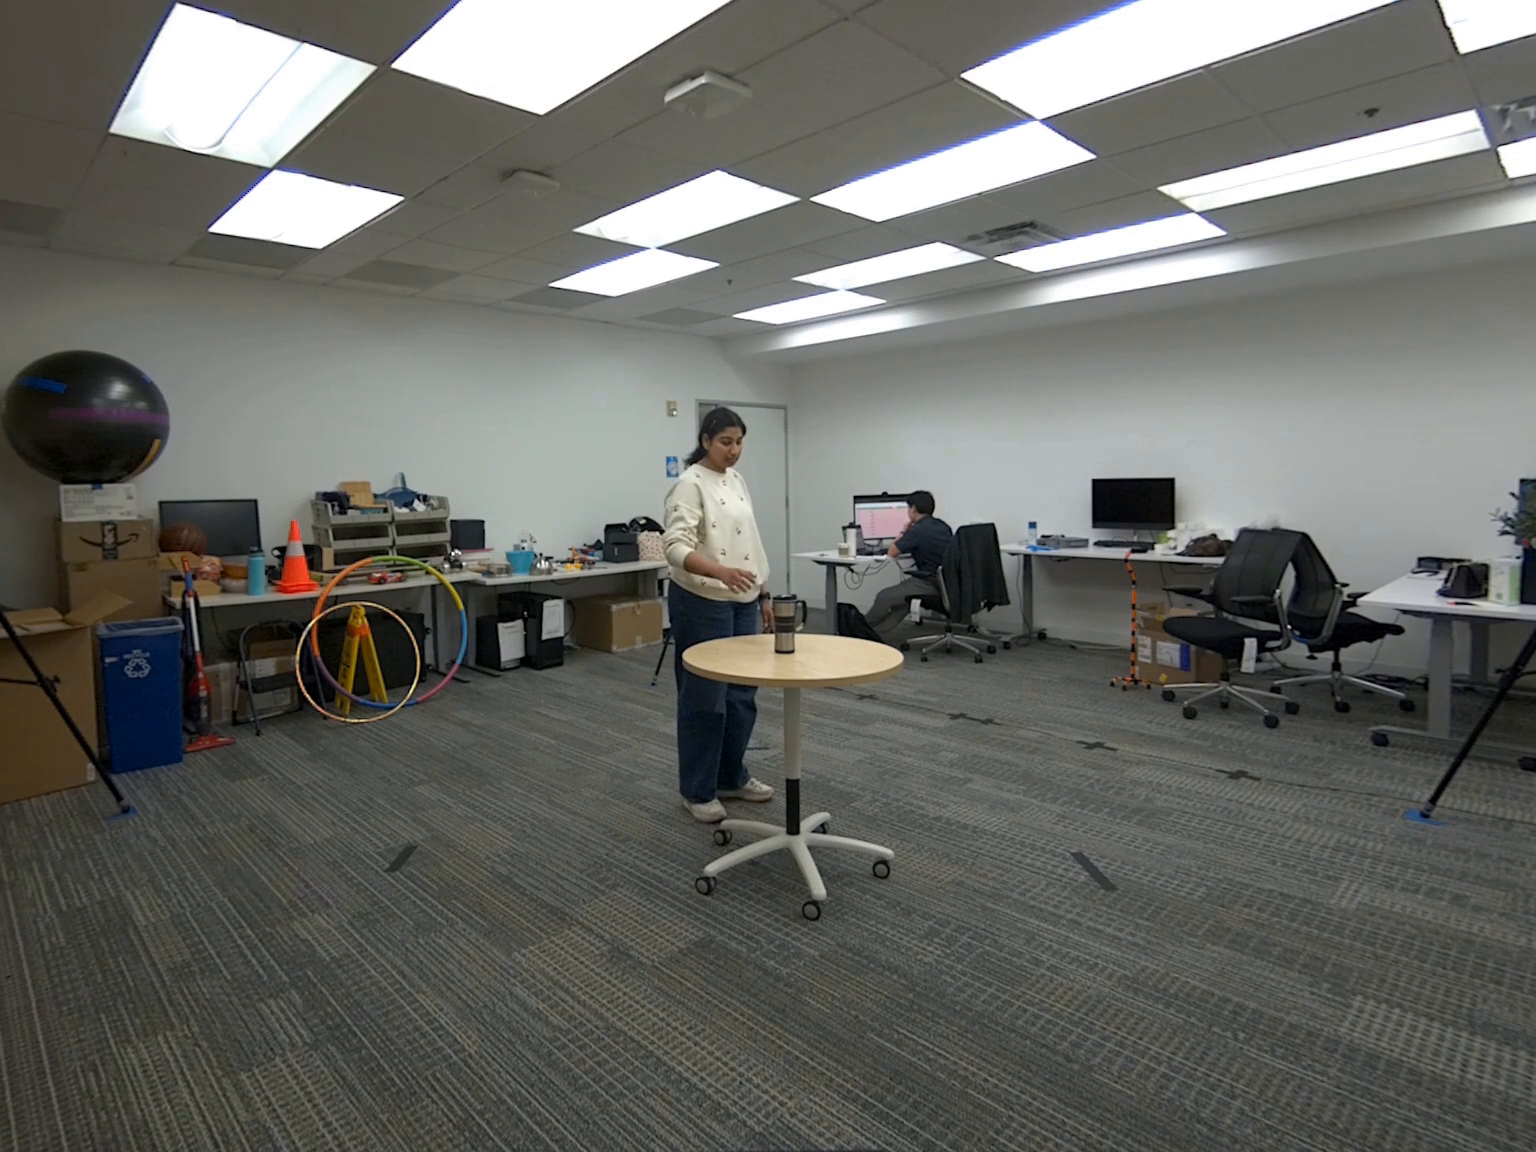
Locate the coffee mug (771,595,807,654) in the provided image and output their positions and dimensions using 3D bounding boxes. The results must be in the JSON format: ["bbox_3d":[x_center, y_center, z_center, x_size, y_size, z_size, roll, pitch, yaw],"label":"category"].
[{"bbox_3d":[0.072,0.174,2.997,0.085,0.203,0.125,1,-3,-36],"label":"coffee mug"}]
